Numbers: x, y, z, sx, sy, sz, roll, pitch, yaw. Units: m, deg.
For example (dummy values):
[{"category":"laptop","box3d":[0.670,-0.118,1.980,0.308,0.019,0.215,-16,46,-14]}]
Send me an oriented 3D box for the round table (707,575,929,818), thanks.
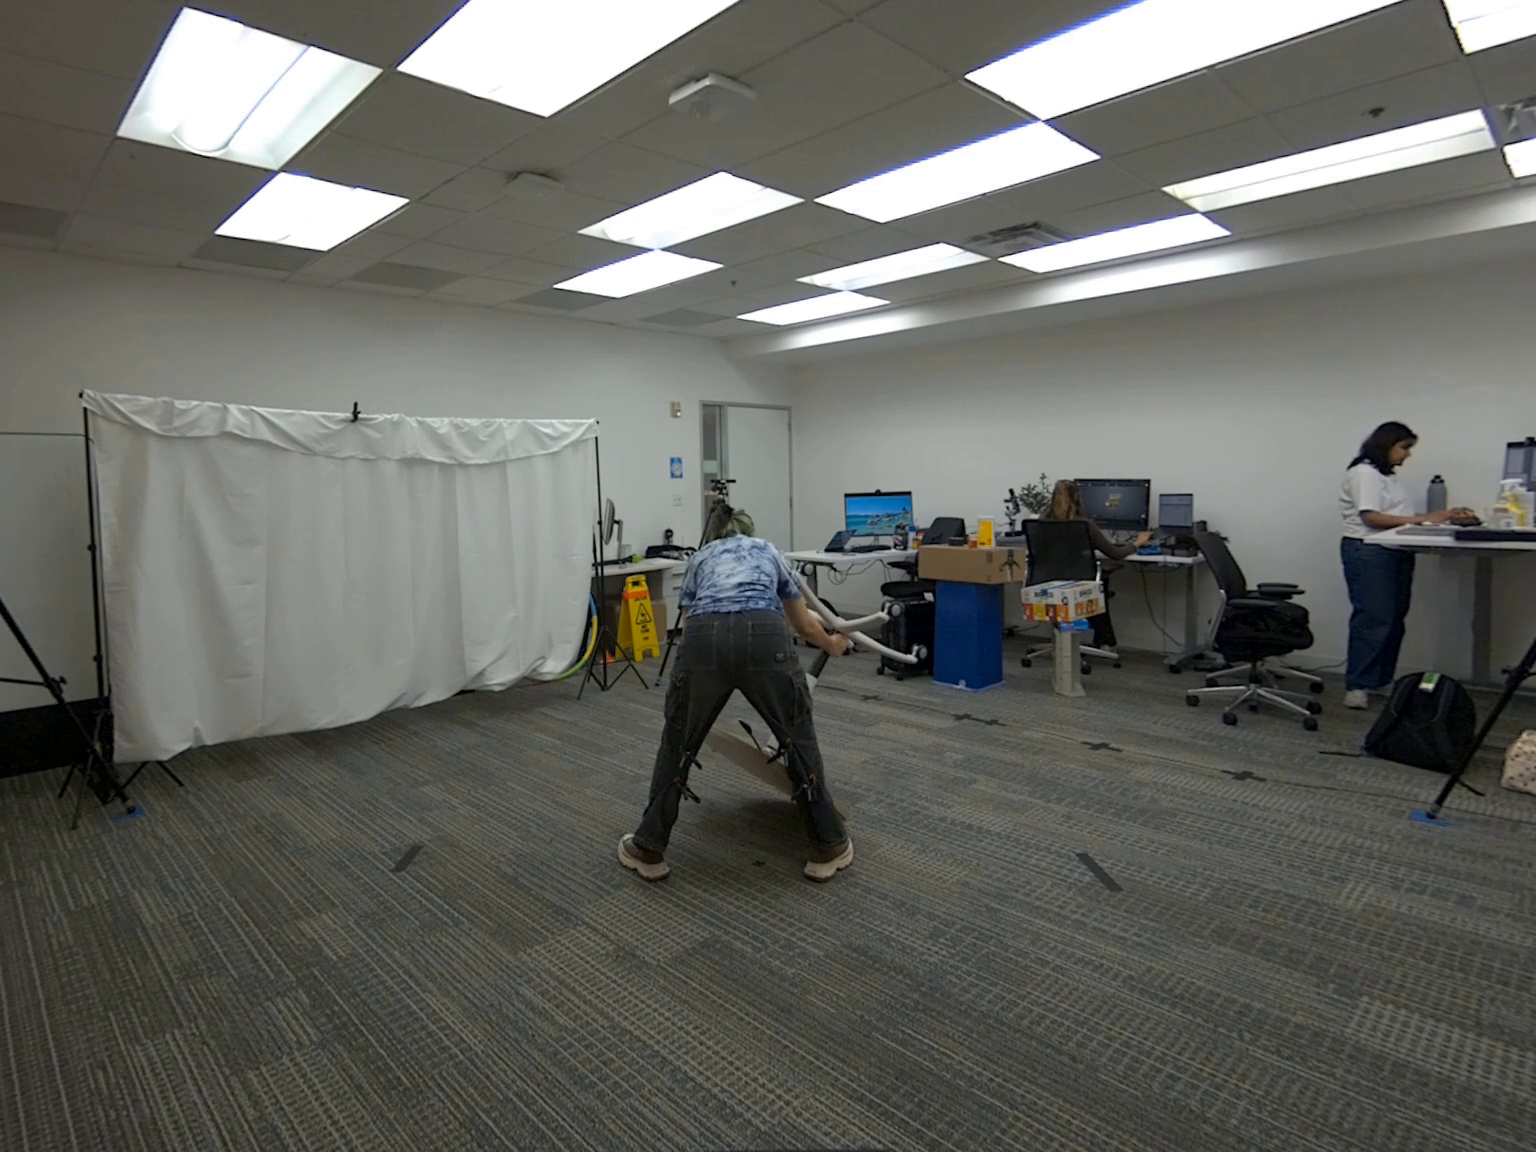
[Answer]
[{"category":"round table","box3d":[0.171,0.451,3.531,0.773,0.797,0.752,29,-17,8]}]
